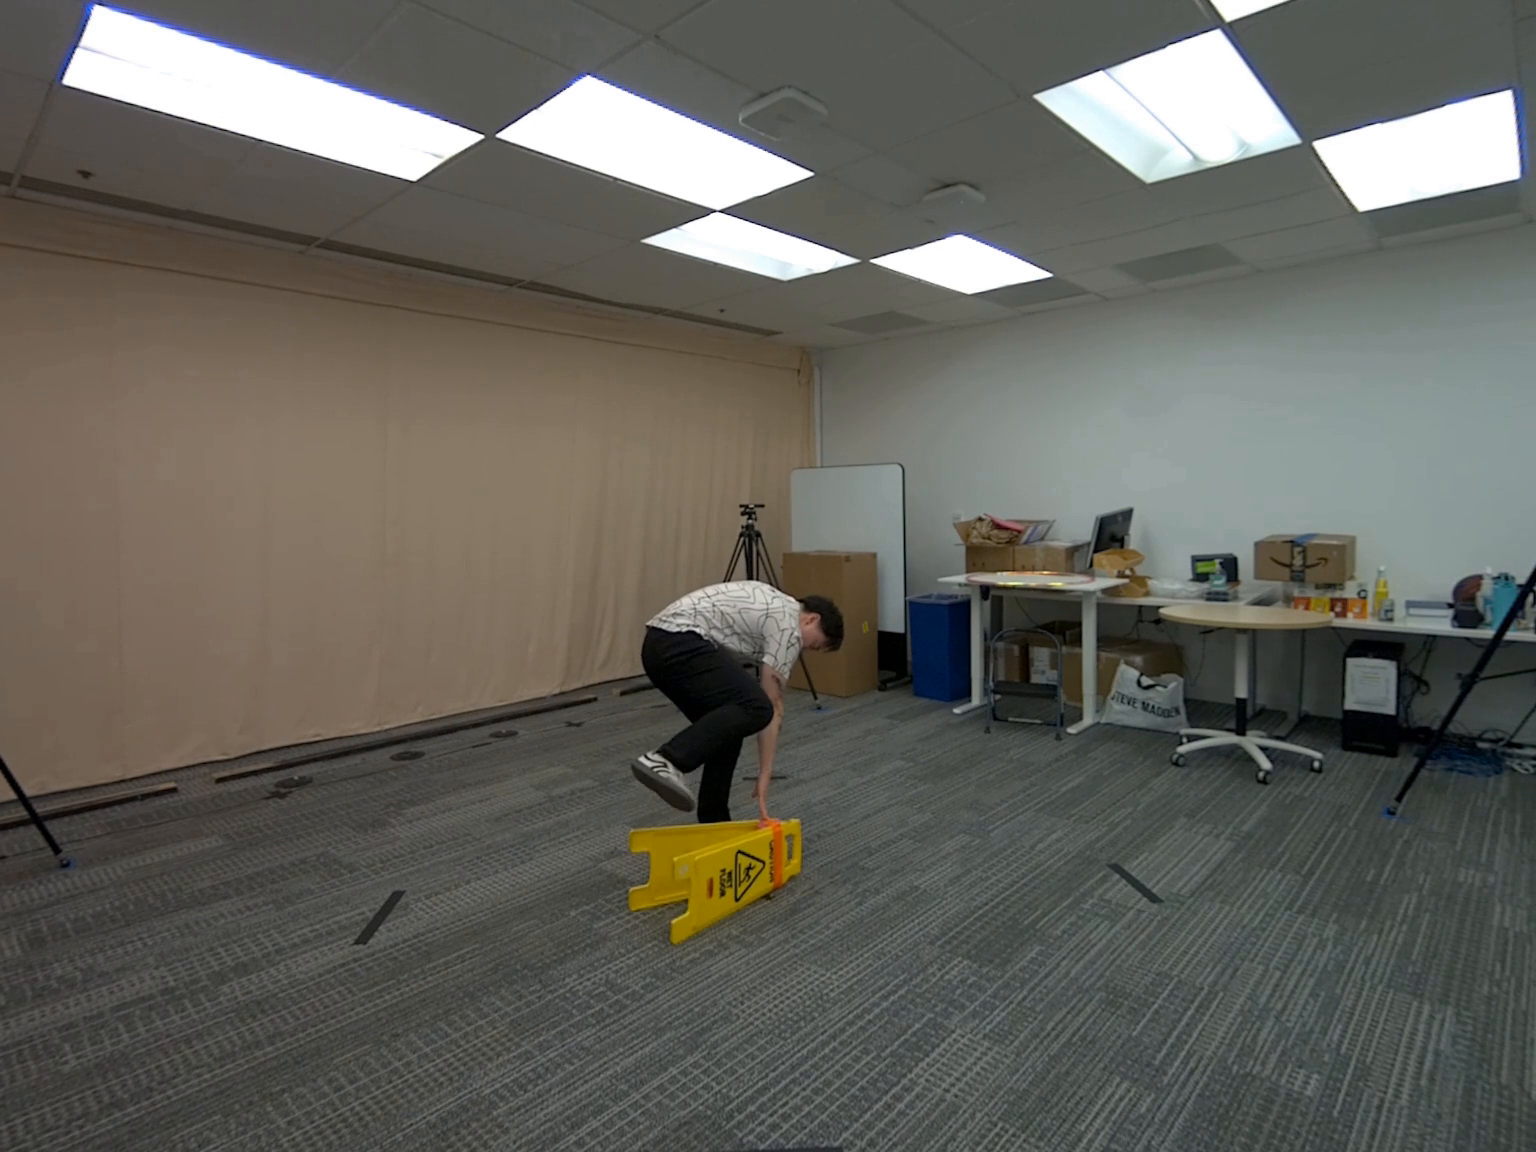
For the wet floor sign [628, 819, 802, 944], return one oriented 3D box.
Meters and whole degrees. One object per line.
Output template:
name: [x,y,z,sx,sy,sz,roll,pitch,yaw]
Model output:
wet floor sign: [-0.137,1.013,2.969,0.627,0.282,0.299,-2,3,-35]
